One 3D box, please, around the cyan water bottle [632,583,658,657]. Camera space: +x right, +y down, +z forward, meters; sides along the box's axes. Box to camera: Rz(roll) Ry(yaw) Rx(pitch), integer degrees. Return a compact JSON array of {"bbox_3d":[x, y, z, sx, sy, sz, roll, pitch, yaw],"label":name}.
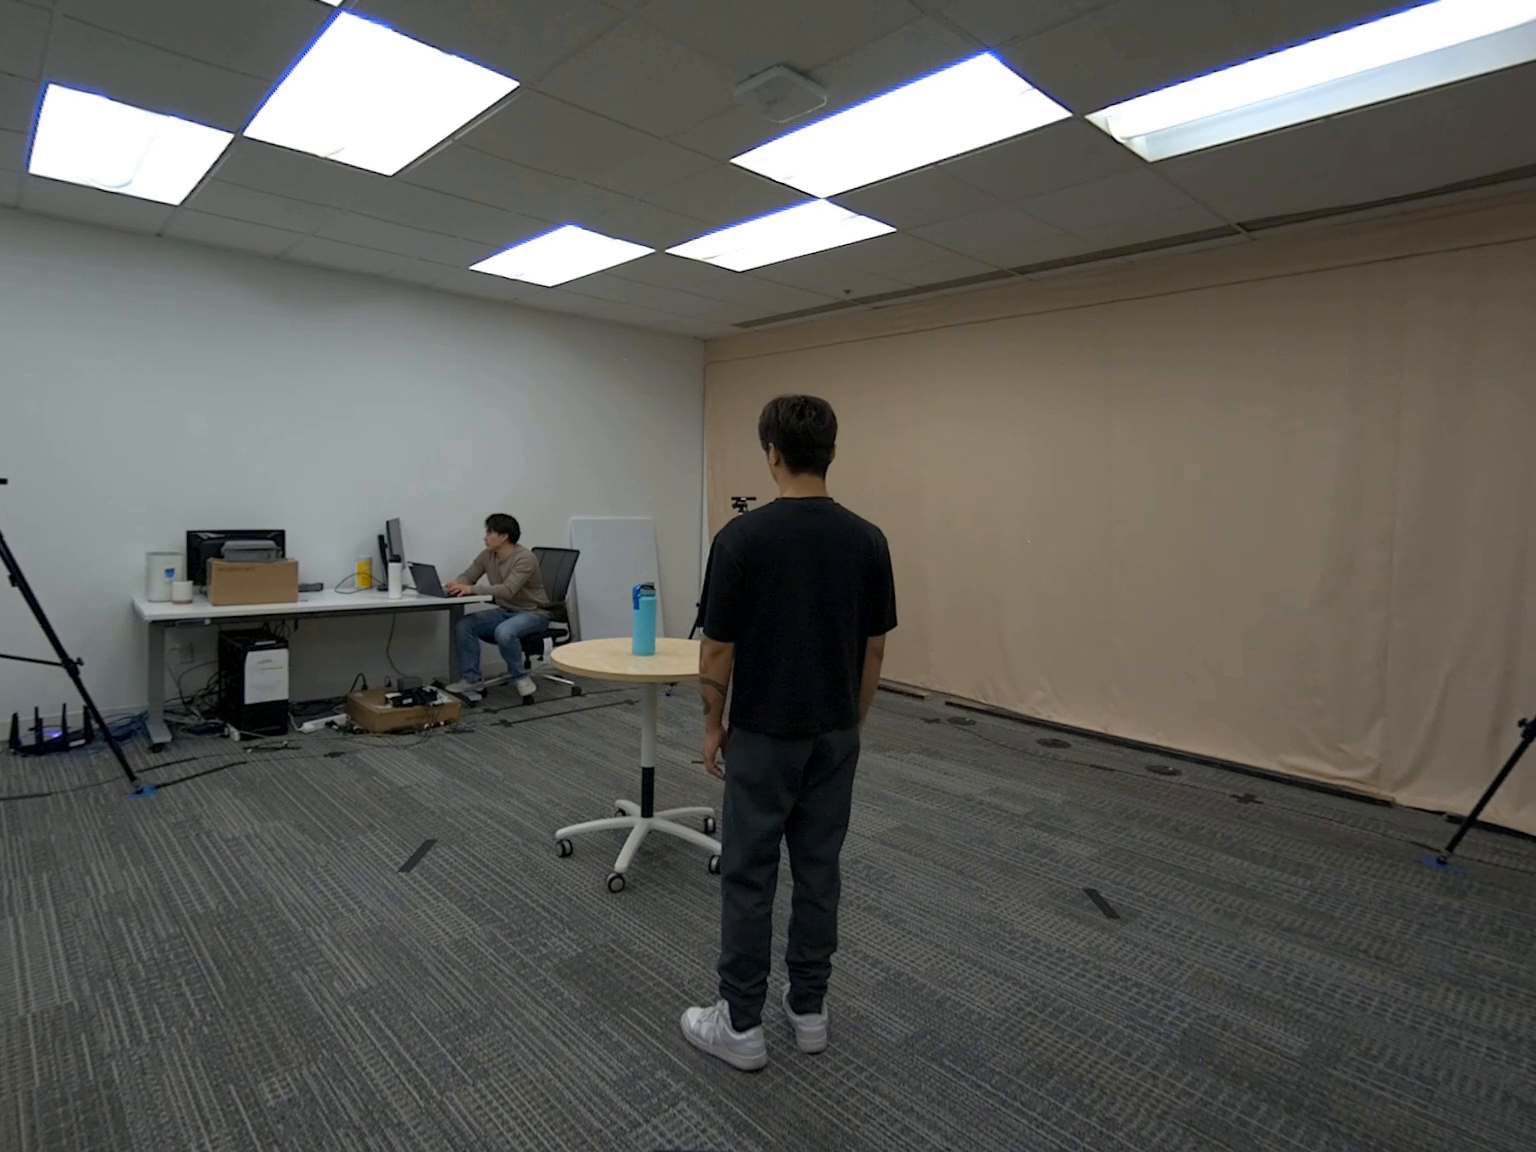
[{"bbox_3d":[-0.492,0.163,3.260,0.092,0.282,0.093,1,5,-1],"label":"cyan water bottle"}]
